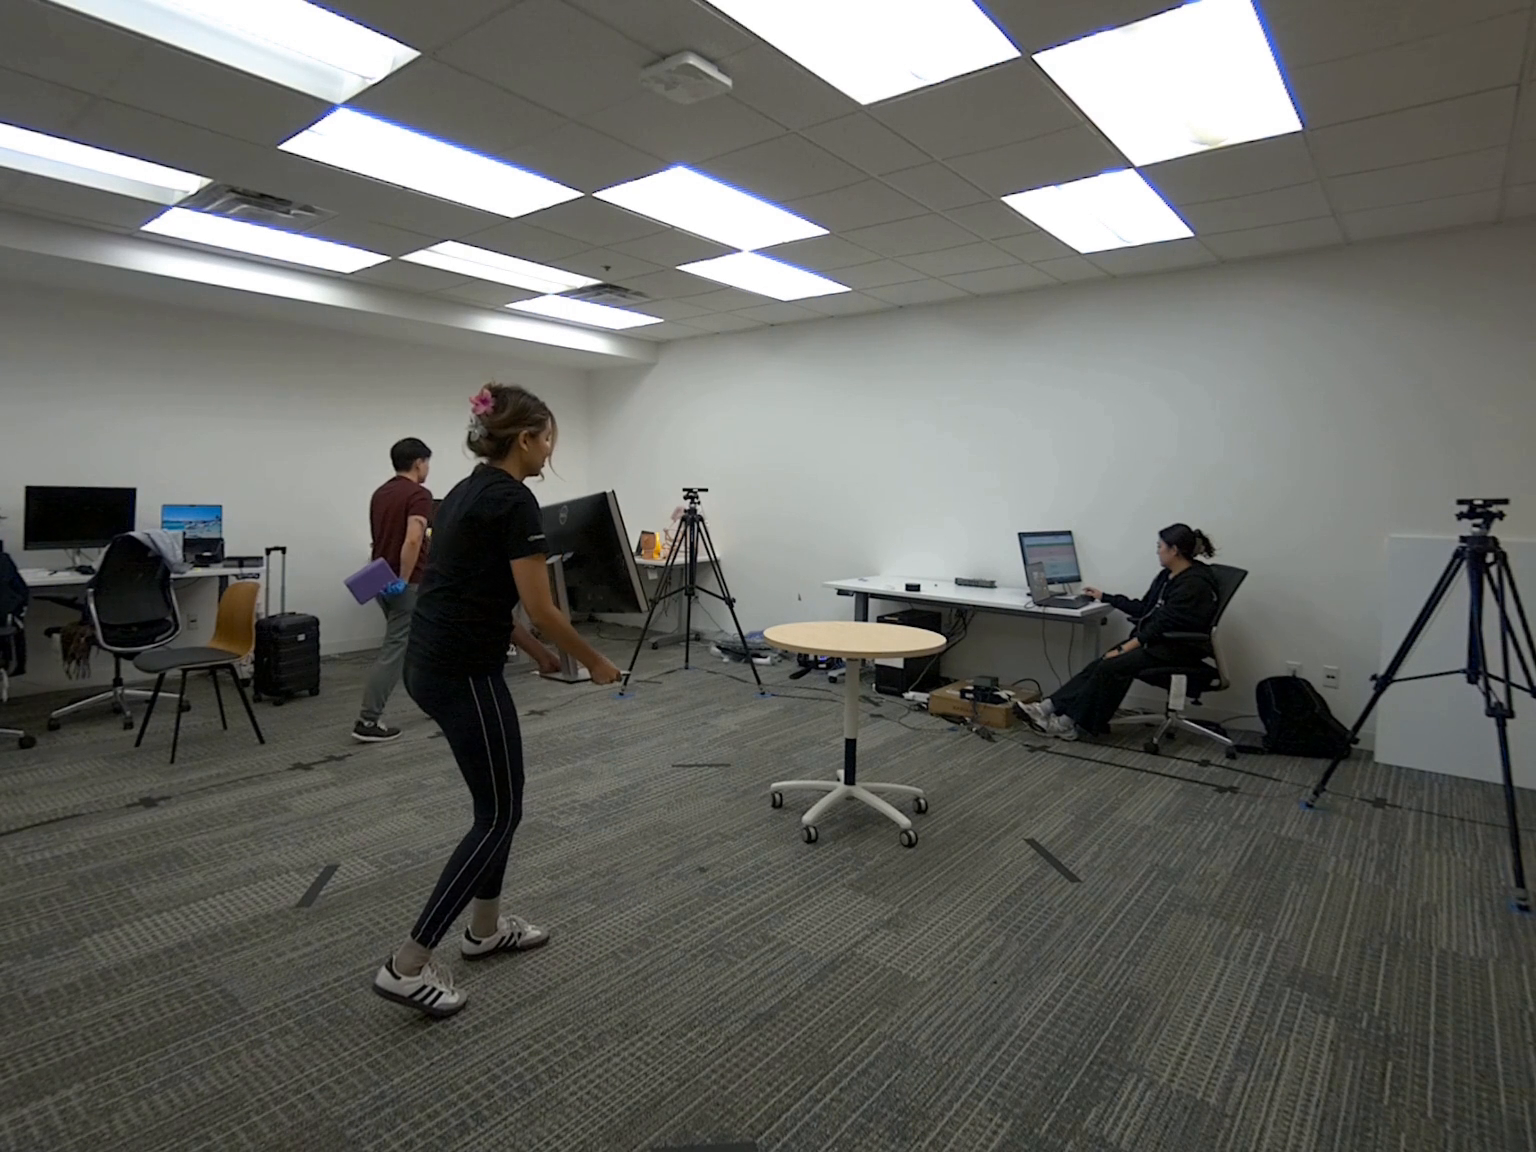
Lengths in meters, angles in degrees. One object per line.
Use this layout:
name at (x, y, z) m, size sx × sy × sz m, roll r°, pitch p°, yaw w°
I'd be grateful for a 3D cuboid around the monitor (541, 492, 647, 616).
monitor at (-0.589, 0.039, 2.597) m, size 0.182 × 0.523 × 0.554 m, roll -4°, pitch 0°, yaw -37°
